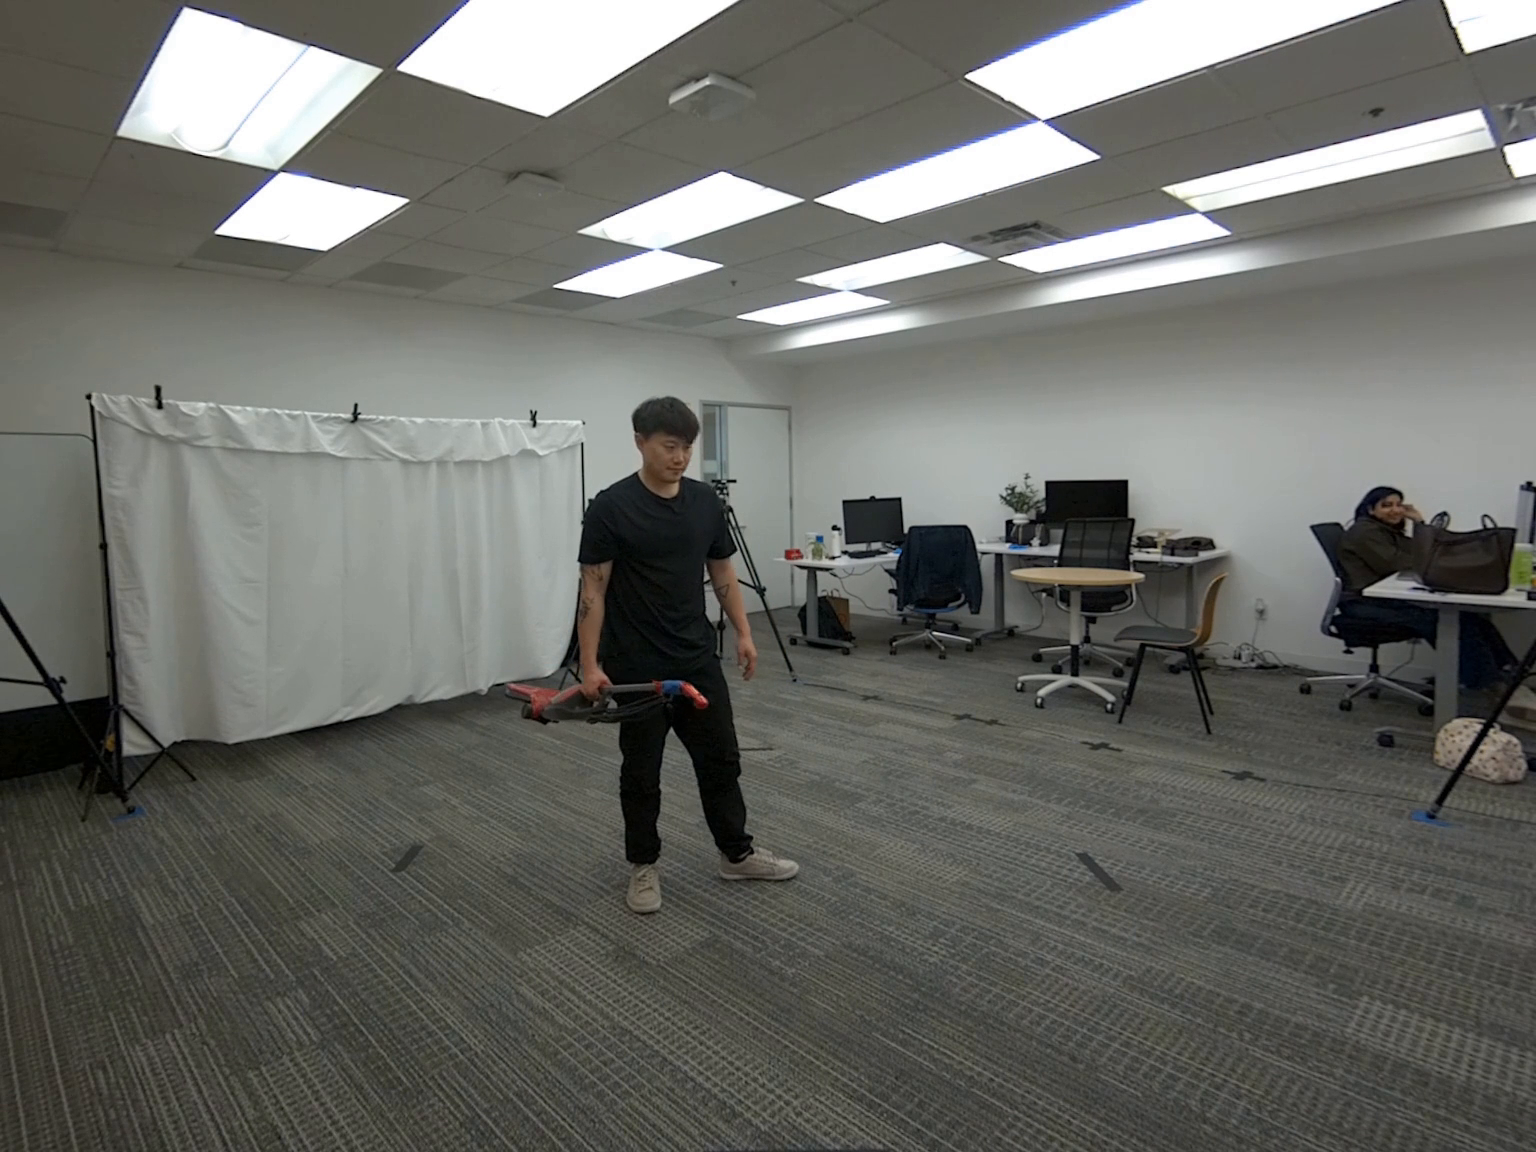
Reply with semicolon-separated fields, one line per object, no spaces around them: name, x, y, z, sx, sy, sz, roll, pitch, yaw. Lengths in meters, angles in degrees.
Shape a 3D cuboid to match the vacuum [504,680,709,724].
vacuum;-0.486;0.390;2.603;0.244;0.146;1.071;20;-18;-33
